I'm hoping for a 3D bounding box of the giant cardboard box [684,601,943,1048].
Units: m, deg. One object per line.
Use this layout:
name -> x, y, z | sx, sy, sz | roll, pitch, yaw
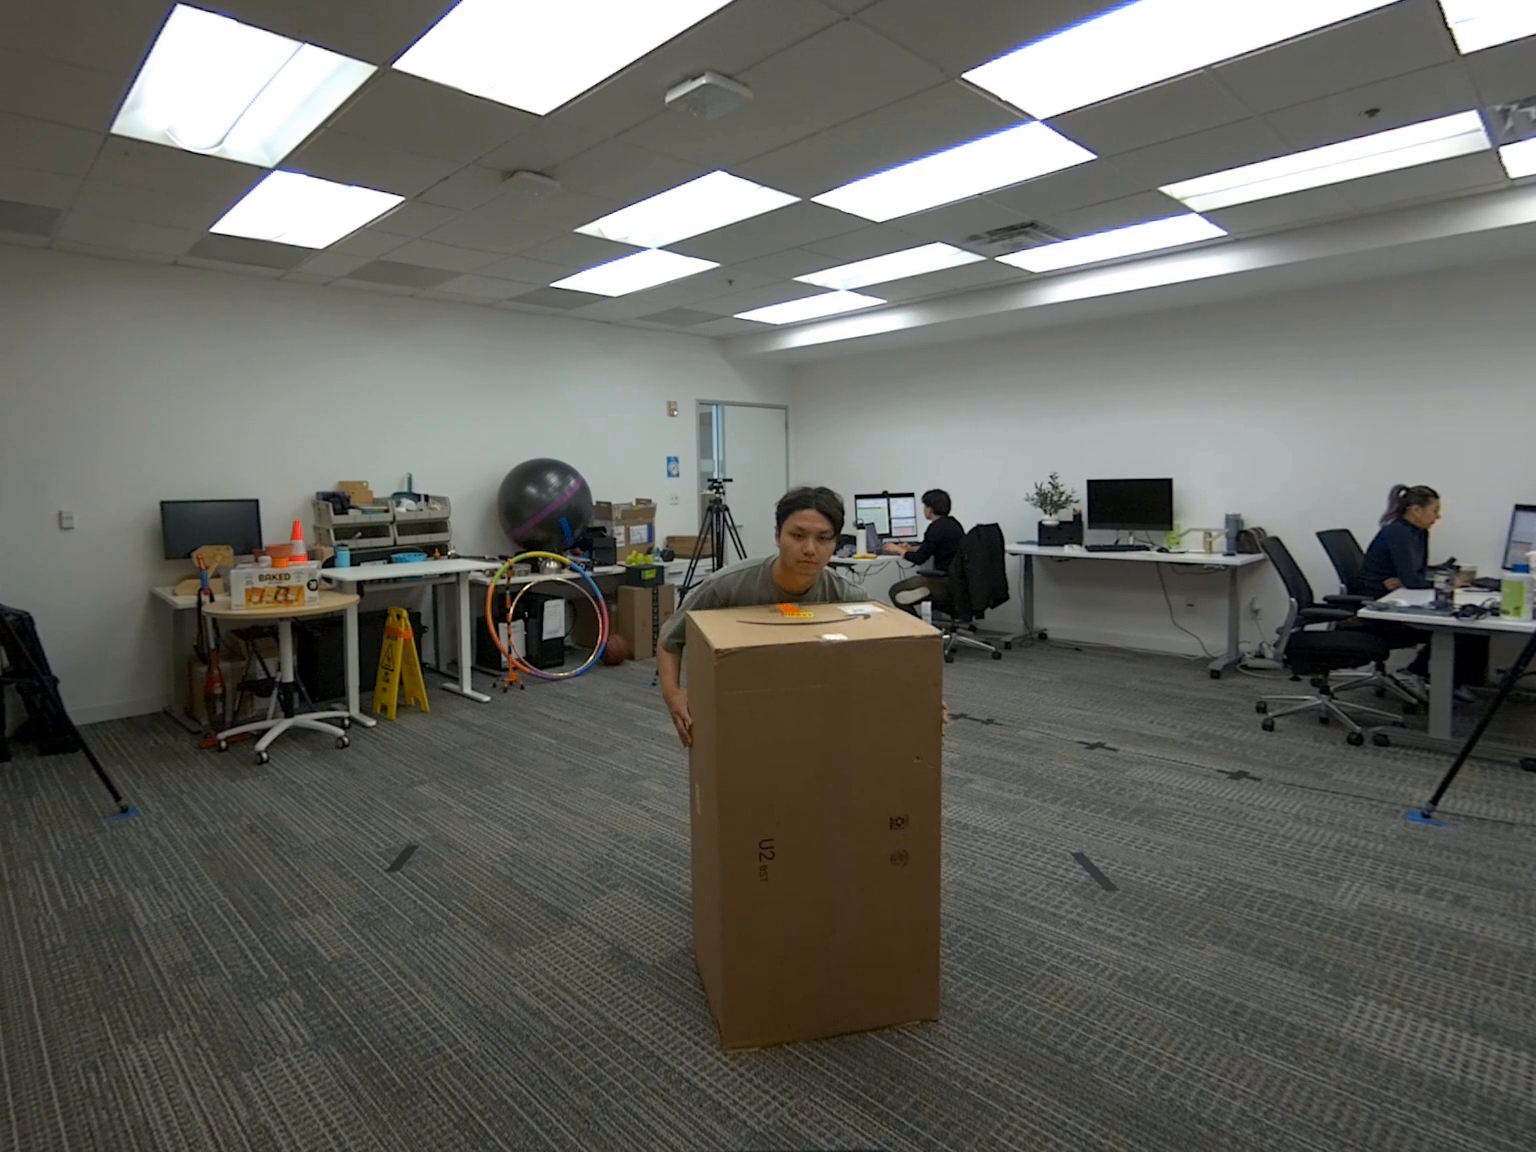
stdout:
giant cardboard box -> 0.112, 0.626, 2.269 | 0.570, 1.018, 0.435 | -3, 8, -14
